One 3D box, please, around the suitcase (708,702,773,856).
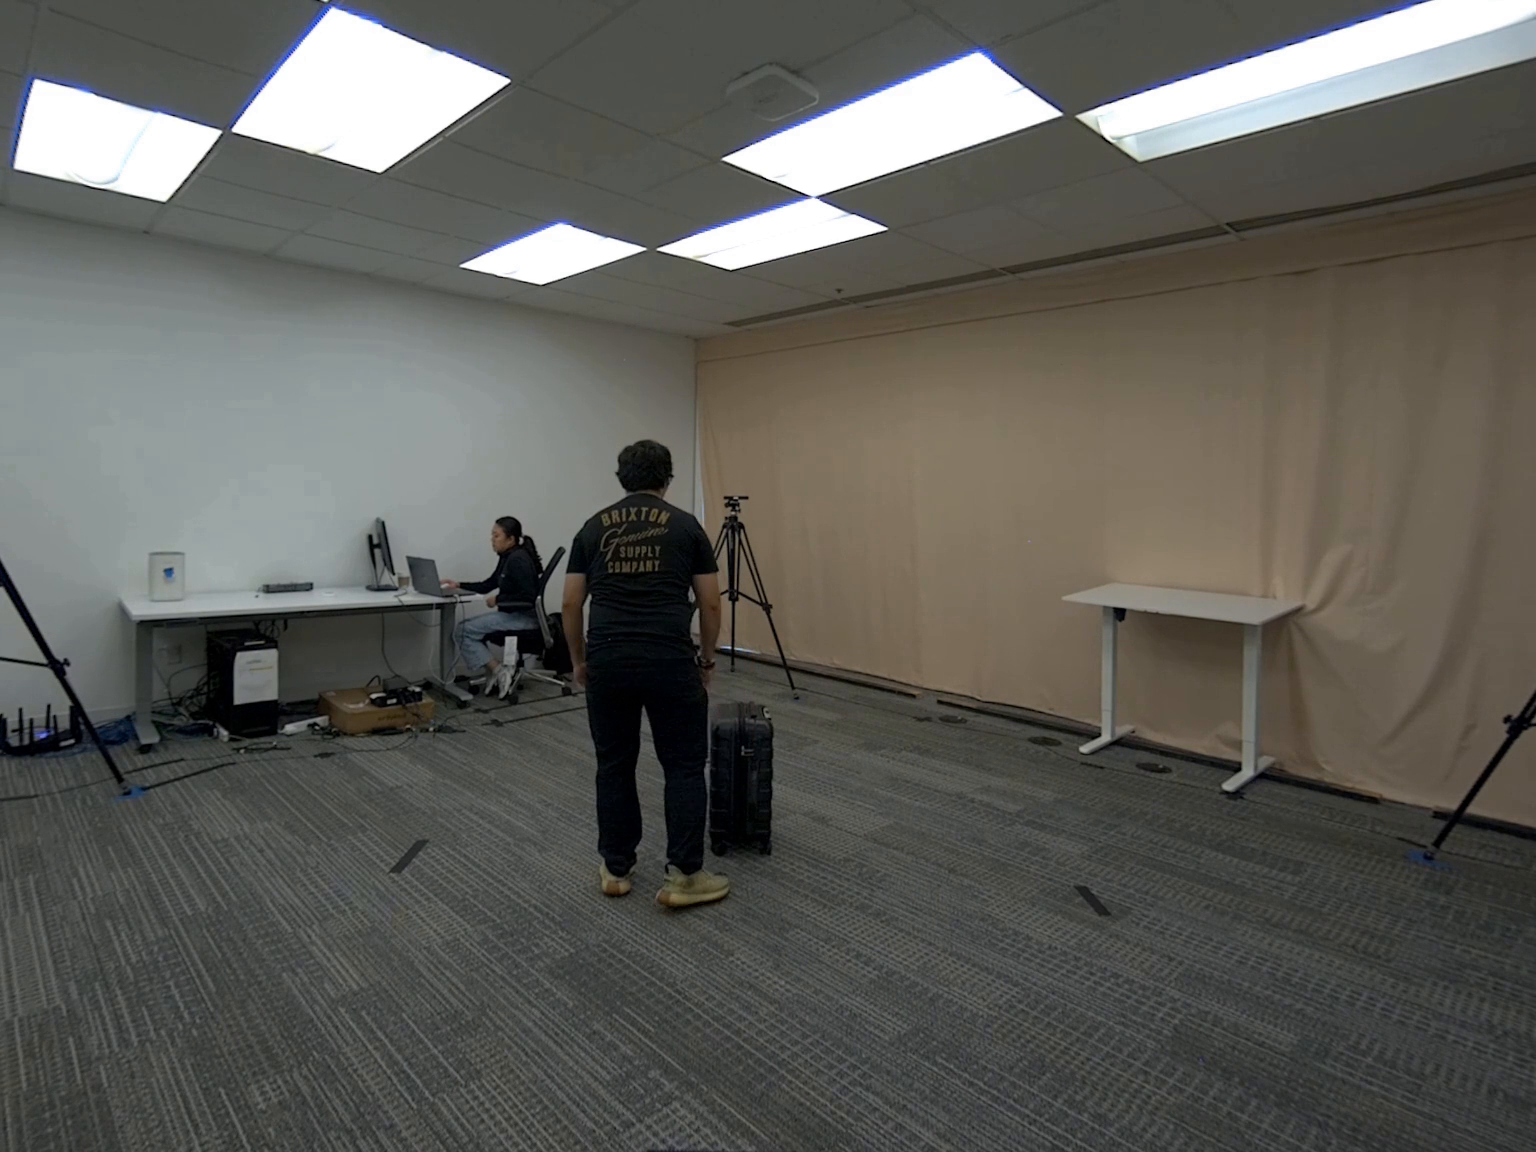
[{"bbox_3d":[-0.112,0.801,3.408,0.248,0.547,0.377,1,5,-4],"label":"suitcase"}]
